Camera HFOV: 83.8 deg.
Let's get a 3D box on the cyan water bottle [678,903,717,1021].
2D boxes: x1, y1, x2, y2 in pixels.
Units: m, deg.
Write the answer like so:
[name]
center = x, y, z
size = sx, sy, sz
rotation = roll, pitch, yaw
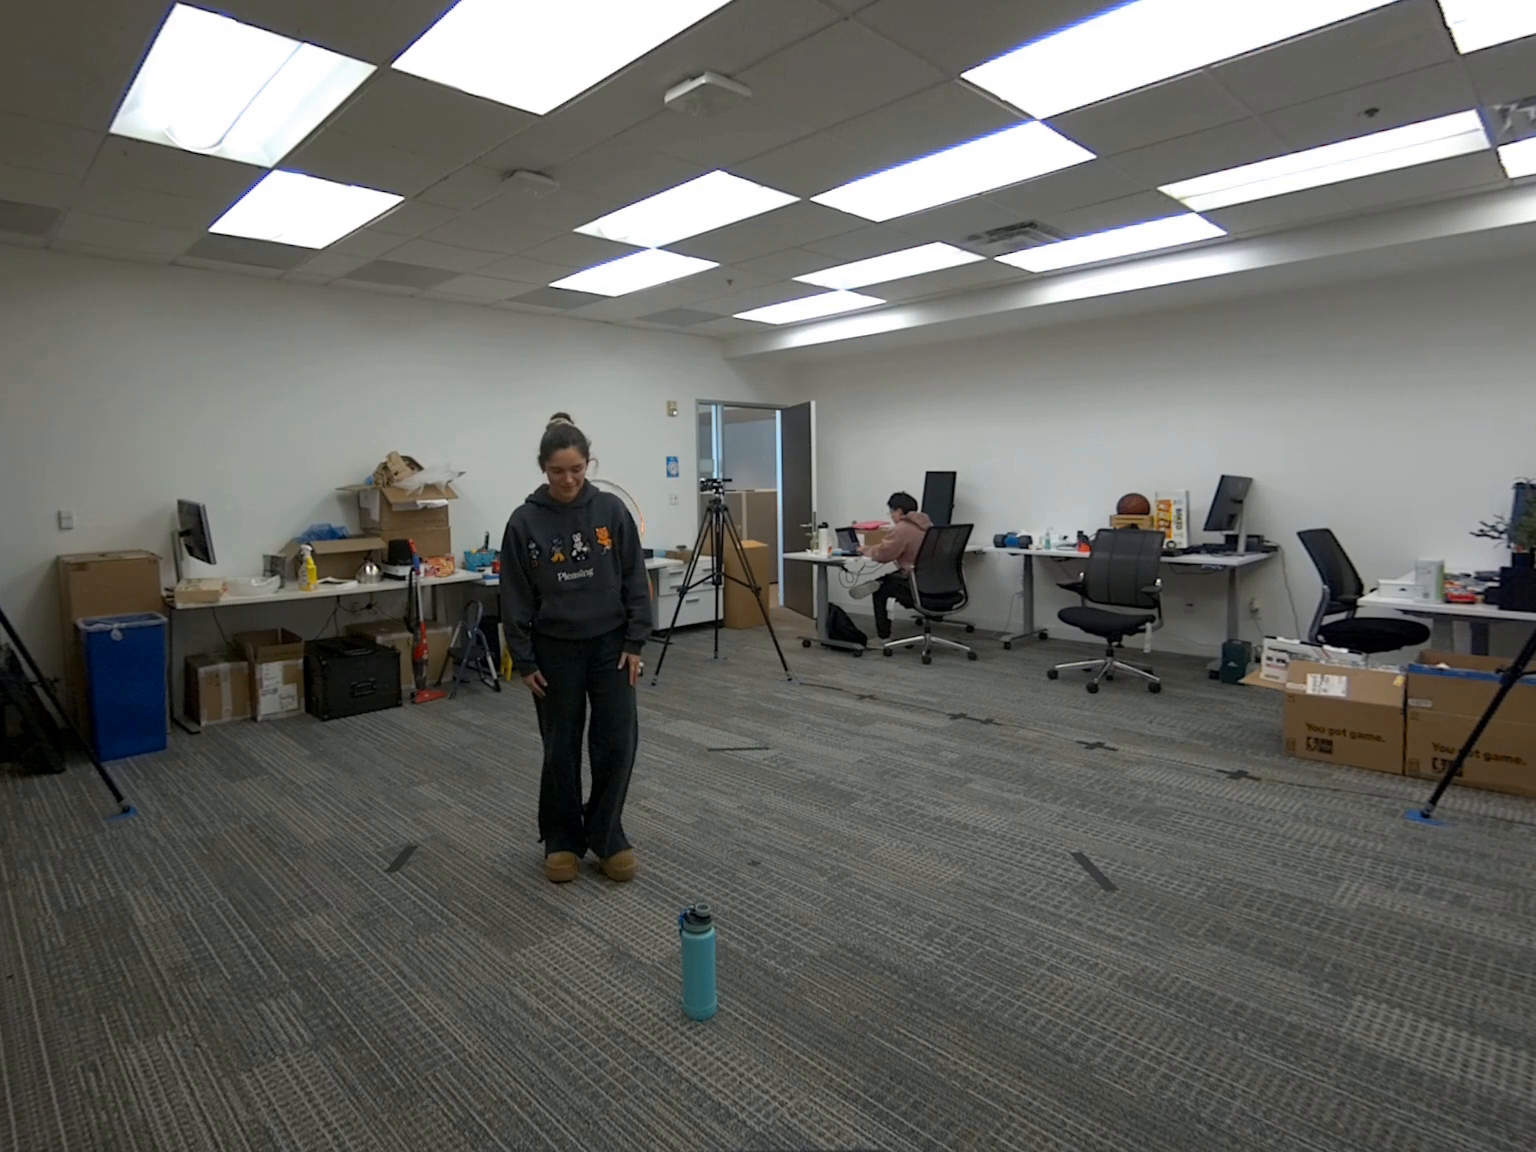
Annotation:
[cyan water bottle]
center = -0.180, 1.008, 2.234
size = 0.092, 0.282, 0.093
rotation = -2, 4, -1
